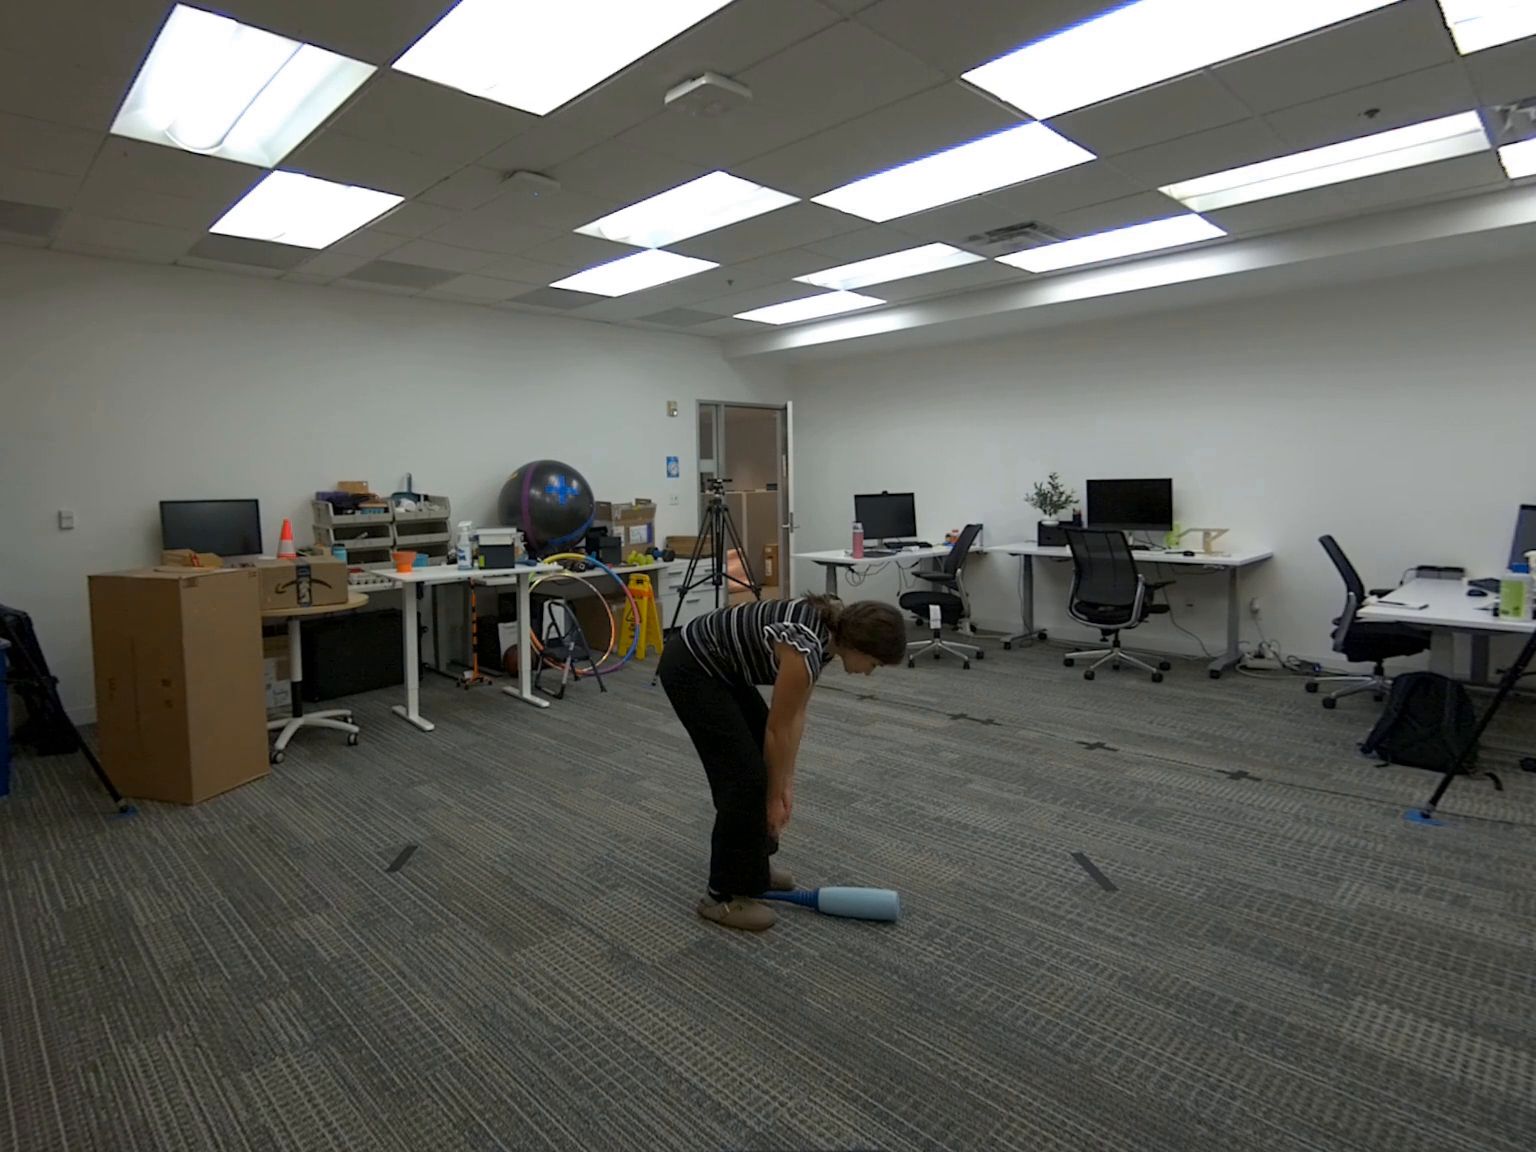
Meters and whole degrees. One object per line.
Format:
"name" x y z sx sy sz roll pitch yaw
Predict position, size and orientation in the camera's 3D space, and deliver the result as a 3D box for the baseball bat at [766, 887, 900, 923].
"baseball bat" 0.151 1.045 2.759 0.551 0.089 0.088 -2 4 17
